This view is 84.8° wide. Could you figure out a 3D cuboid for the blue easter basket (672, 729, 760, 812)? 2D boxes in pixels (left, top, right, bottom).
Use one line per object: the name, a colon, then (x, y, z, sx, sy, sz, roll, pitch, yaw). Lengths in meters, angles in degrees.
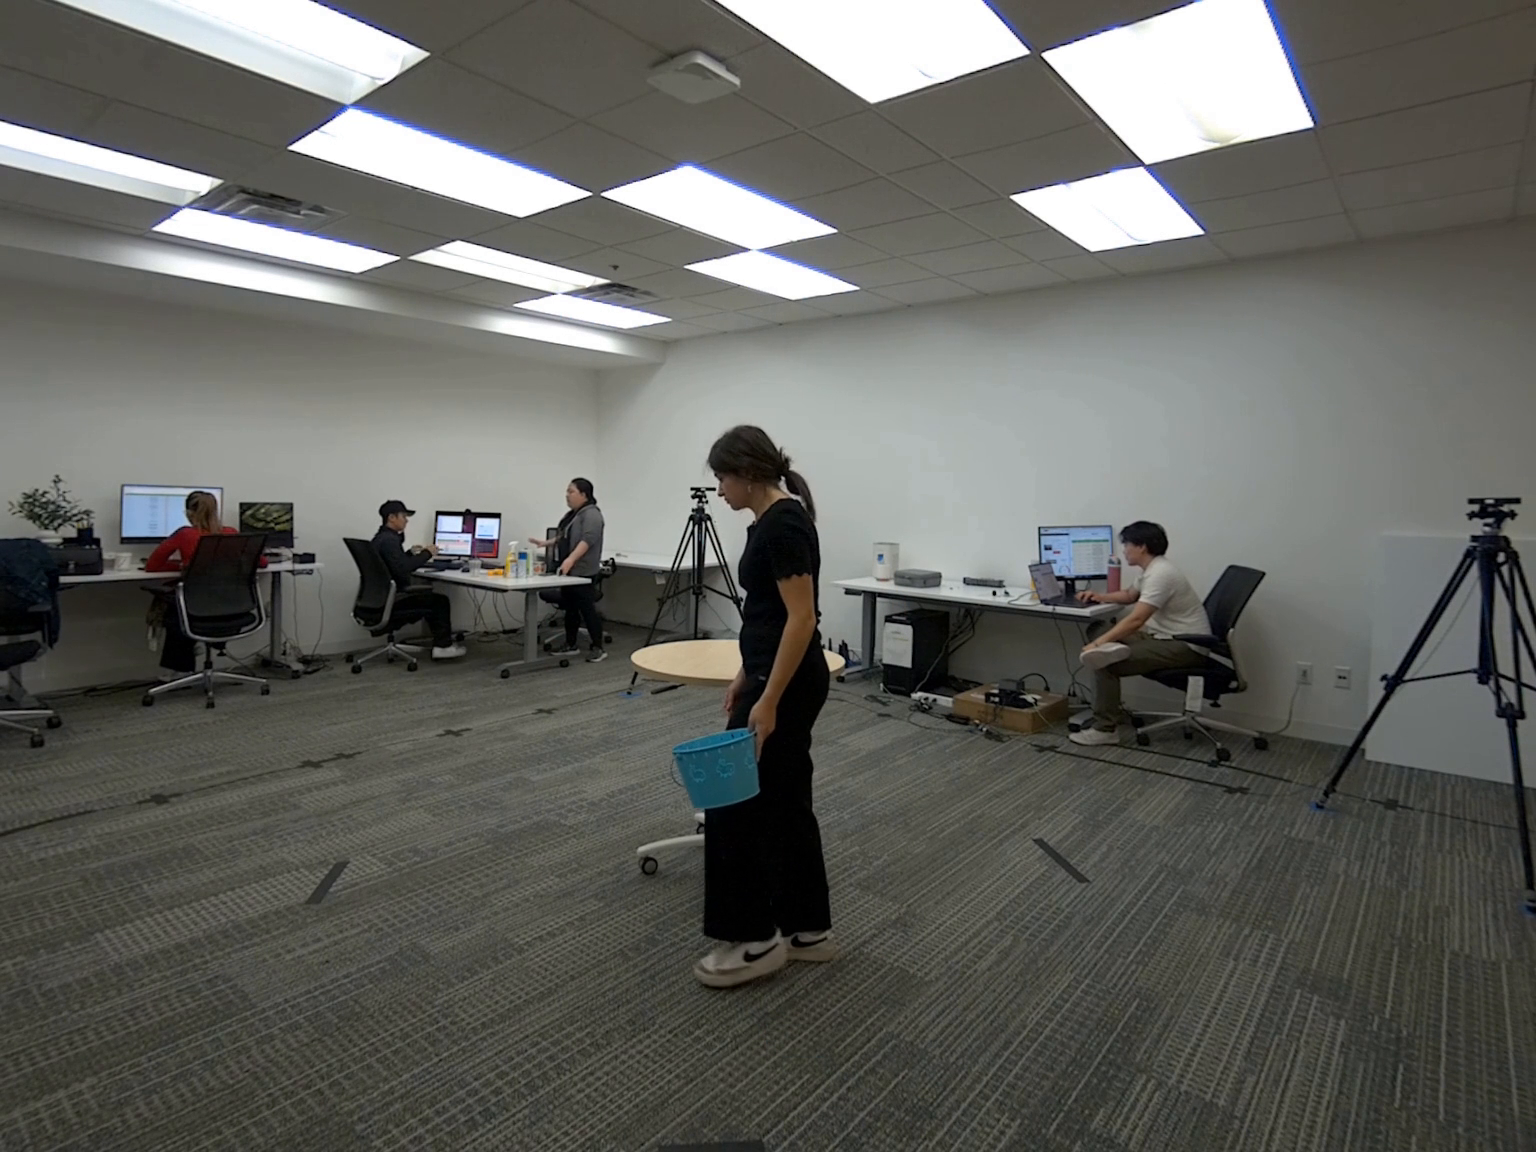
blue easter basket: (-0.146, 0.501, 2.204, 0.243, 0.156, 0.243, -12, -2, -2)
